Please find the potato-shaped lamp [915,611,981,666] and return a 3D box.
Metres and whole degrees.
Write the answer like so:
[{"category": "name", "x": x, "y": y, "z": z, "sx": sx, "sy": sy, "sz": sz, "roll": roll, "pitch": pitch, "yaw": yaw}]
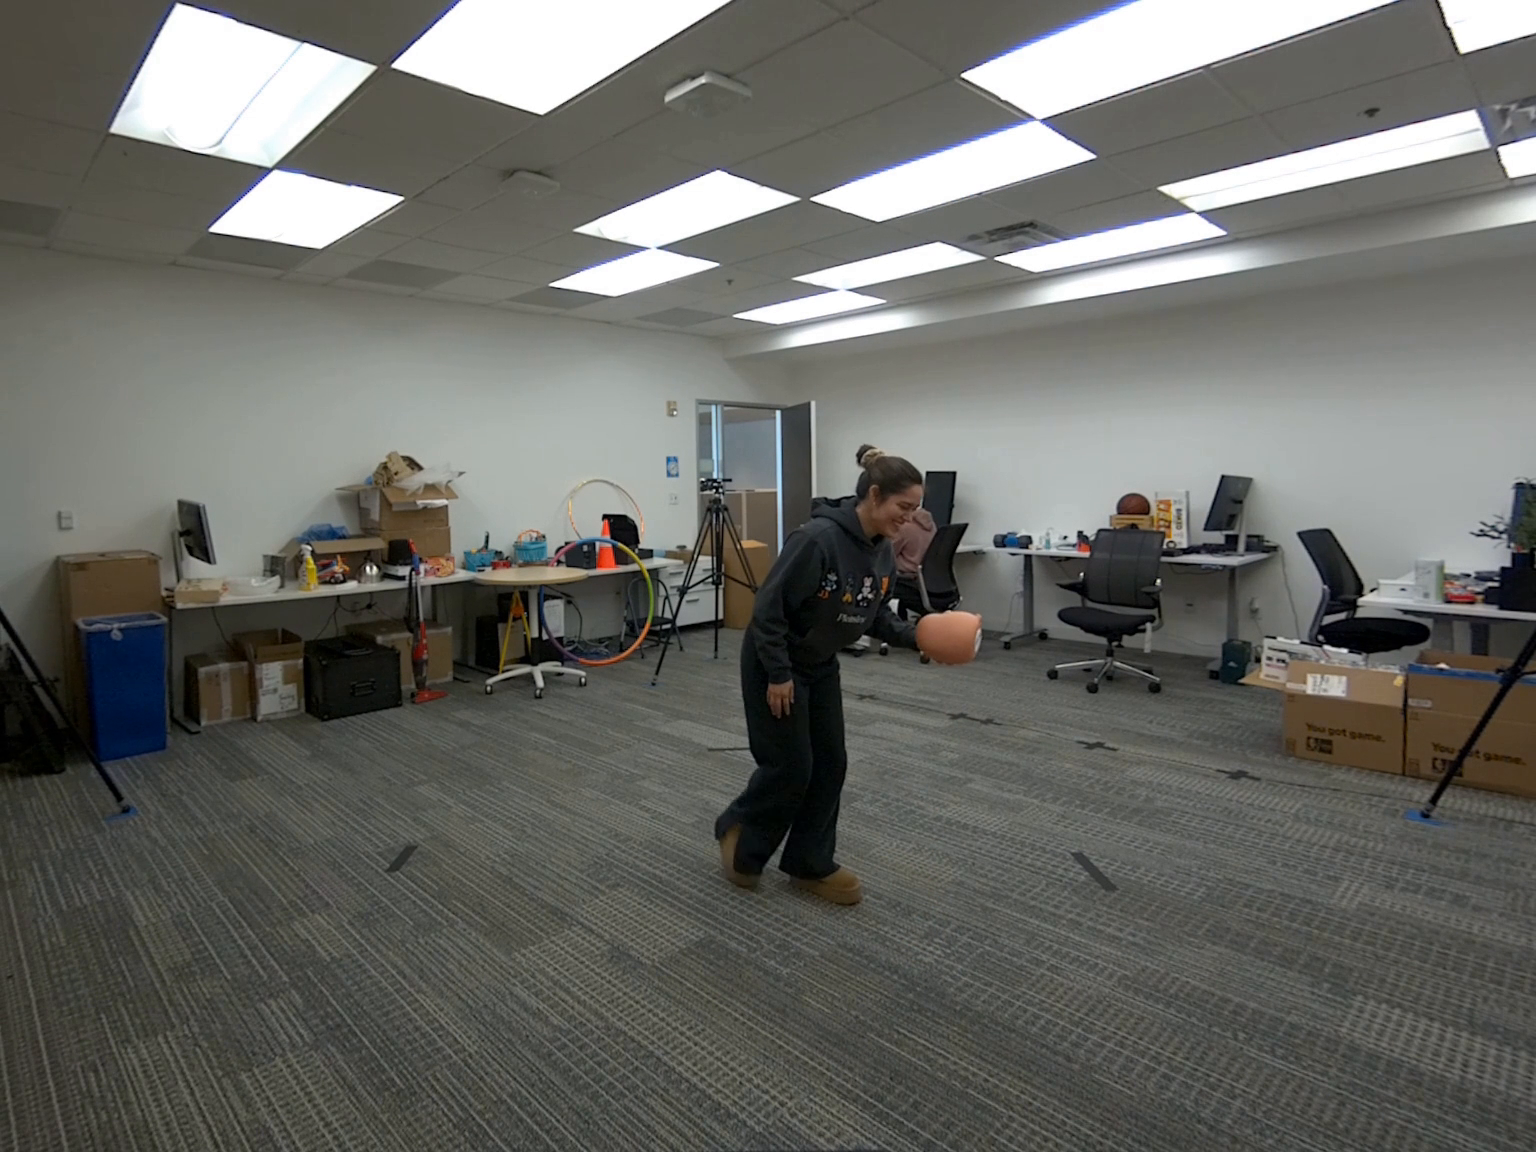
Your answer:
[{"category": "potato-shaped lamp", "x": 0.568, "y": 0.192, "z": 2.732, "sx": 0.203, "sy": 0.159, "sz": 0.172, "roll": 12, "pitch": 51, "yaw": 26}]
